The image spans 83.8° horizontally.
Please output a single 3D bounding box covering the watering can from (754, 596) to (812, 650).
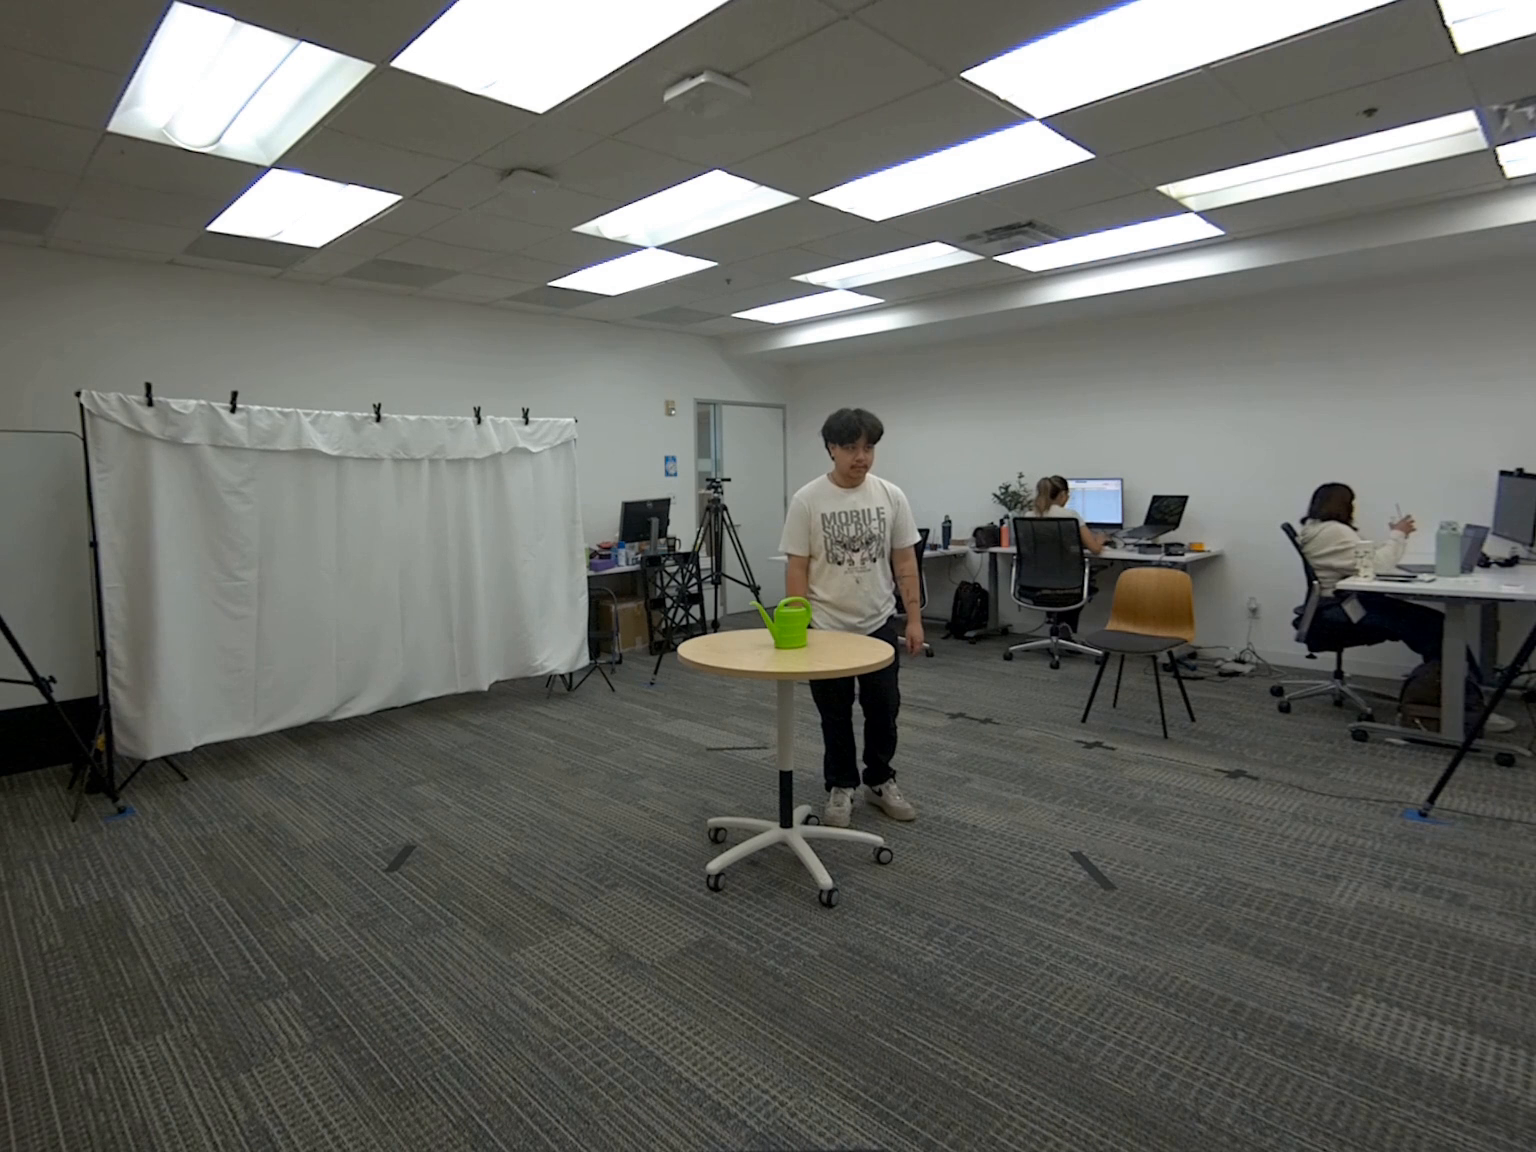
[{"bbox_3d":[0.056,0.167,3.045,0.272,0.176,0.100,-1,3,-26],"label":"watering can"}]
